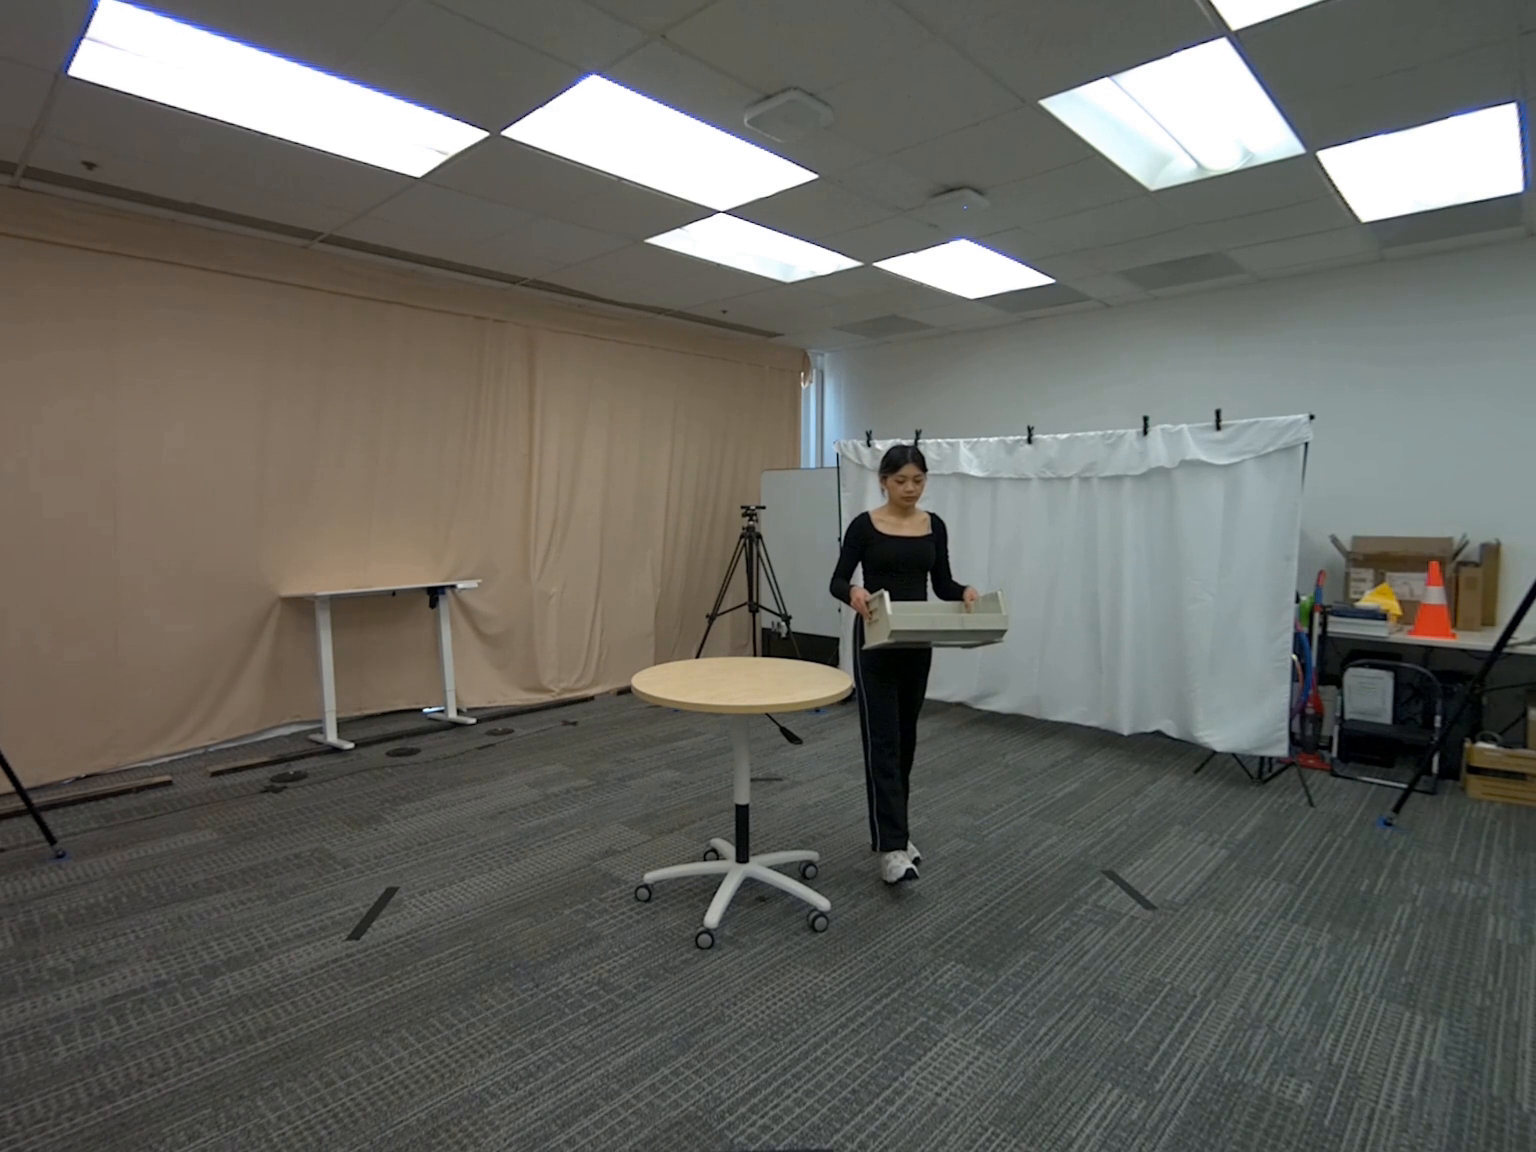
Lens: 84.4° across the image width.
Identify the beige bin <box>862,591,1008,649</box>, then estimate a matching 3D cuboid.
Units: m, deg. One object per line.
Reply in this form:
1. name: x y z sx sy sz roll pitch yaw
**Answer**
1. beige bin: 0.576 0.169 2.980 0.420 0.190 0.377 2 -10 -6
